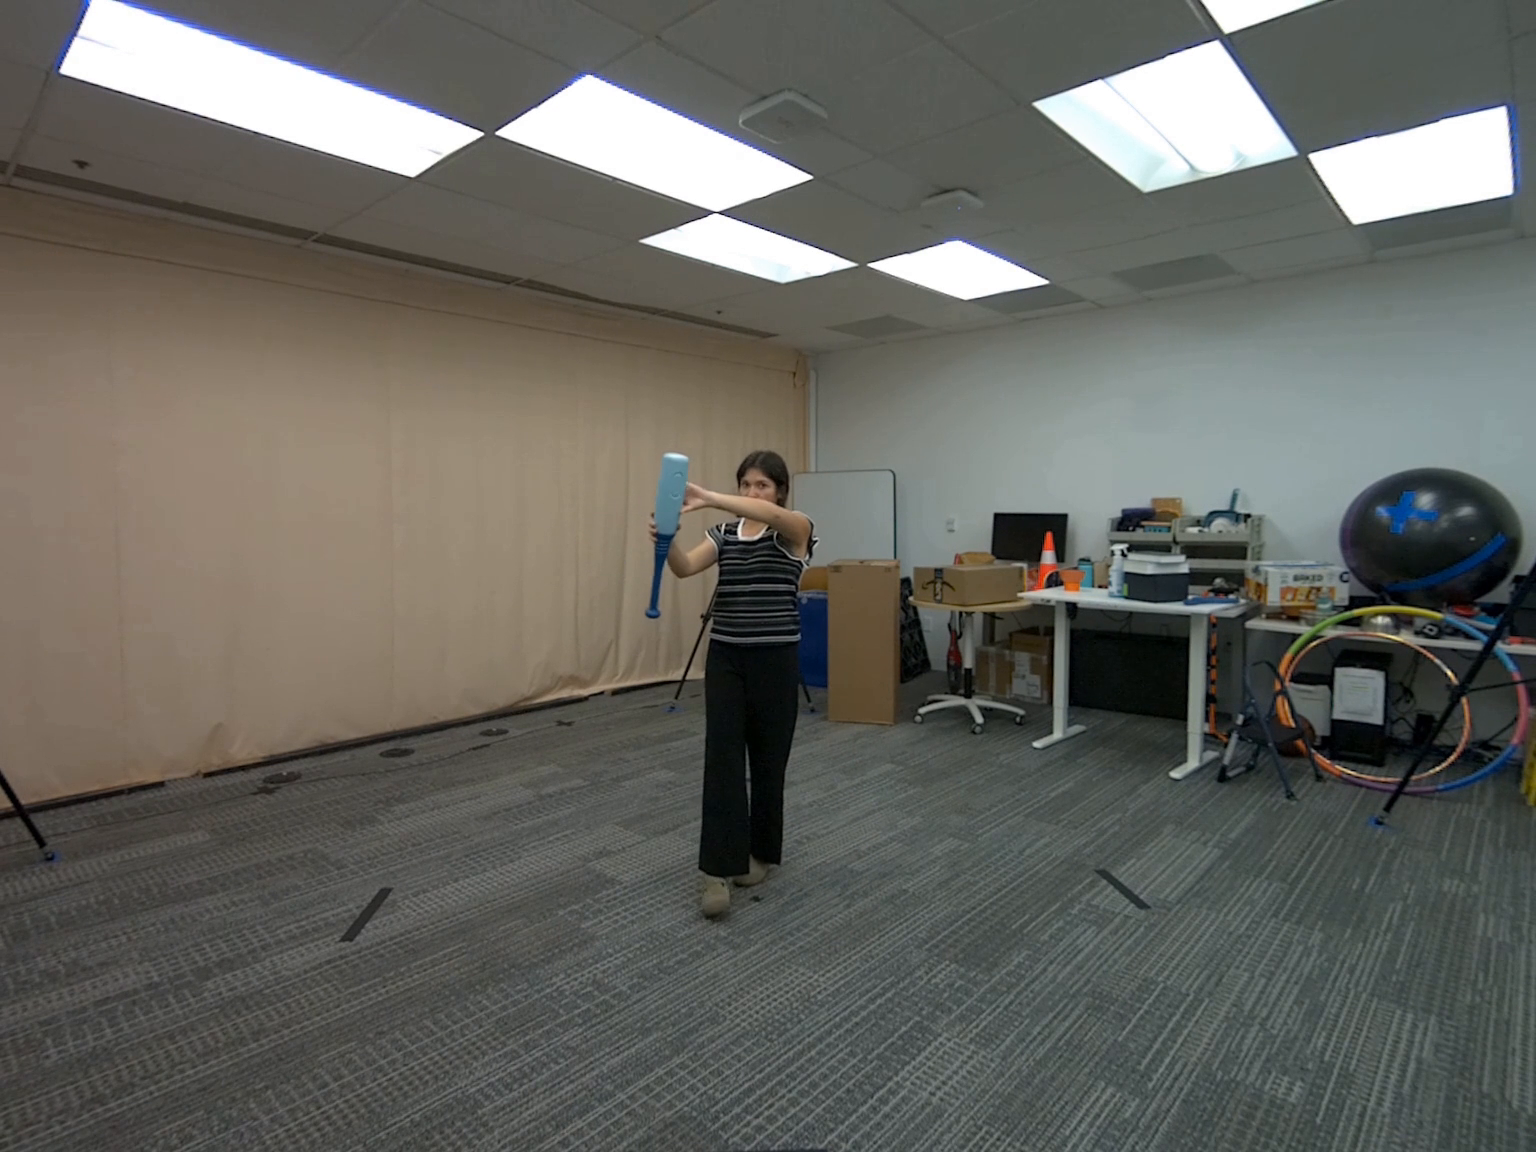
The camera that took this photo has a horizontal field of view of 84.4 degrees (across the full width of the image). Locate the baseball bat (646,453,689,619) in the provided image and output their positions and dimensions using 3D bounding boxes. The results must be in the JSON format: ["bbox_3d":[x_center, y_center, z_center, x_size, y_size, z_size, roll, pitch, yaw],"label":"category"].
[{"bbox_3d":[-0.336,-0.123,2.671,0.089,0.539,0.090,8,14,-4],"label":"baseball bat"}]
